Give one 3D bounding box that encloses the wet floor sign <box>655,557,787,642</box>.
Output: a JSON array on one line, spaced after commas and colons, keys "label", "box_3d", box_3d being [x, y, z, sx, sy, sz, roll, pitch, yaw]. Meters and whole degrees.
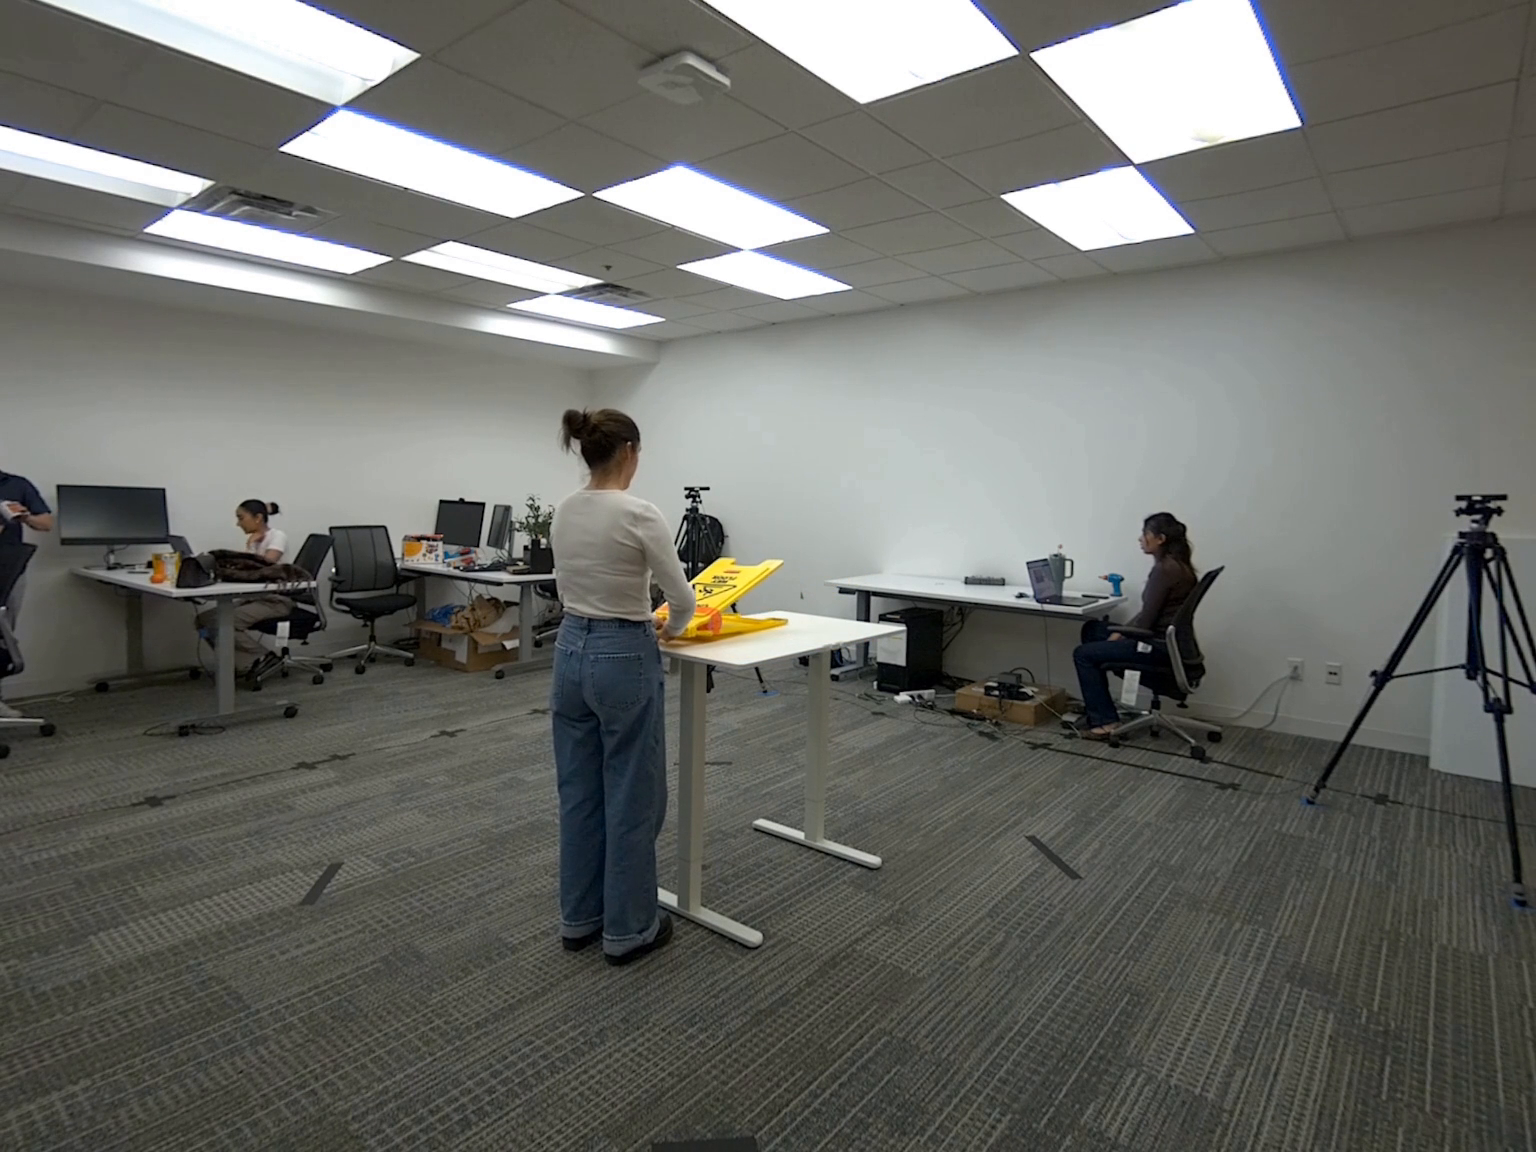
[{"label": "wet floor sign", "box_3d": [-0.201, 0.124, 2.986, 0.290, 0.287, 0.634, 2, 12, 28]}]
